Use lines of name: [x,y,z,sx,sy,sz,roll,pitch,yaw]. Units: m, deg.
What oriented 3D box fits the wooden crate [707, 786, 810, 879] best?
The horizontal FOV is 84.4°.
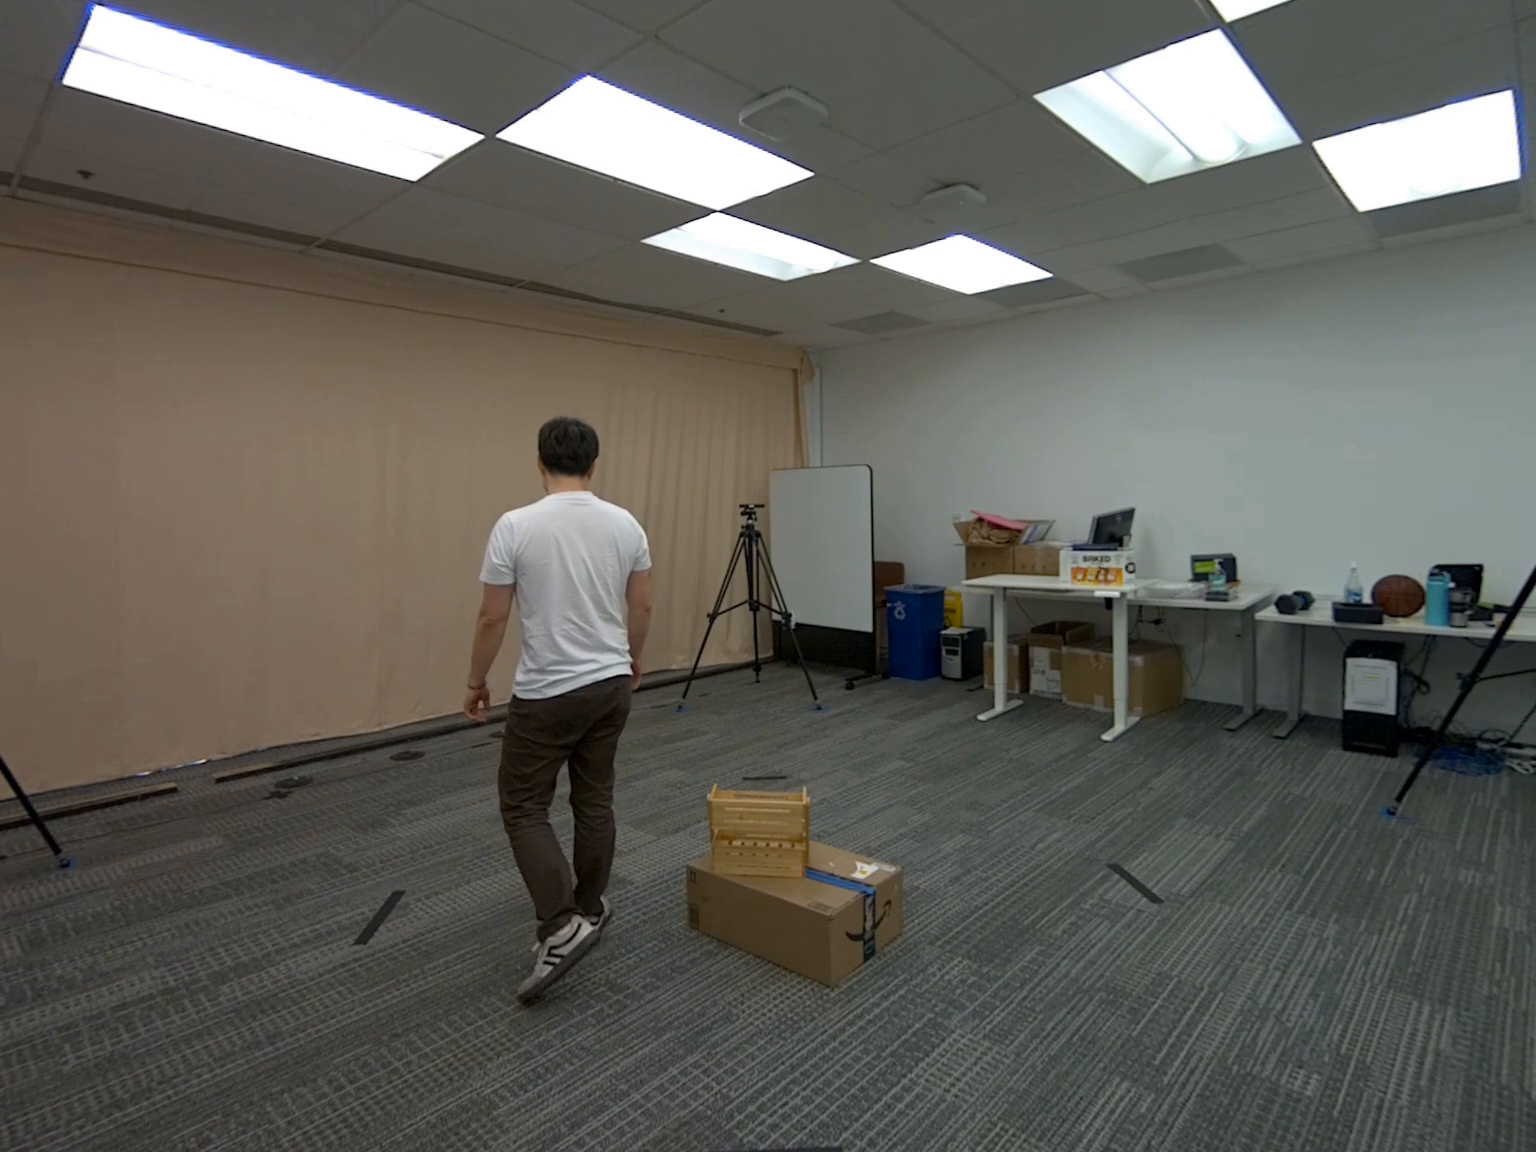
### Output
wooden crate: [-0.023,0.809,2.769,0.326,0.272,0.301,0,5,5]
